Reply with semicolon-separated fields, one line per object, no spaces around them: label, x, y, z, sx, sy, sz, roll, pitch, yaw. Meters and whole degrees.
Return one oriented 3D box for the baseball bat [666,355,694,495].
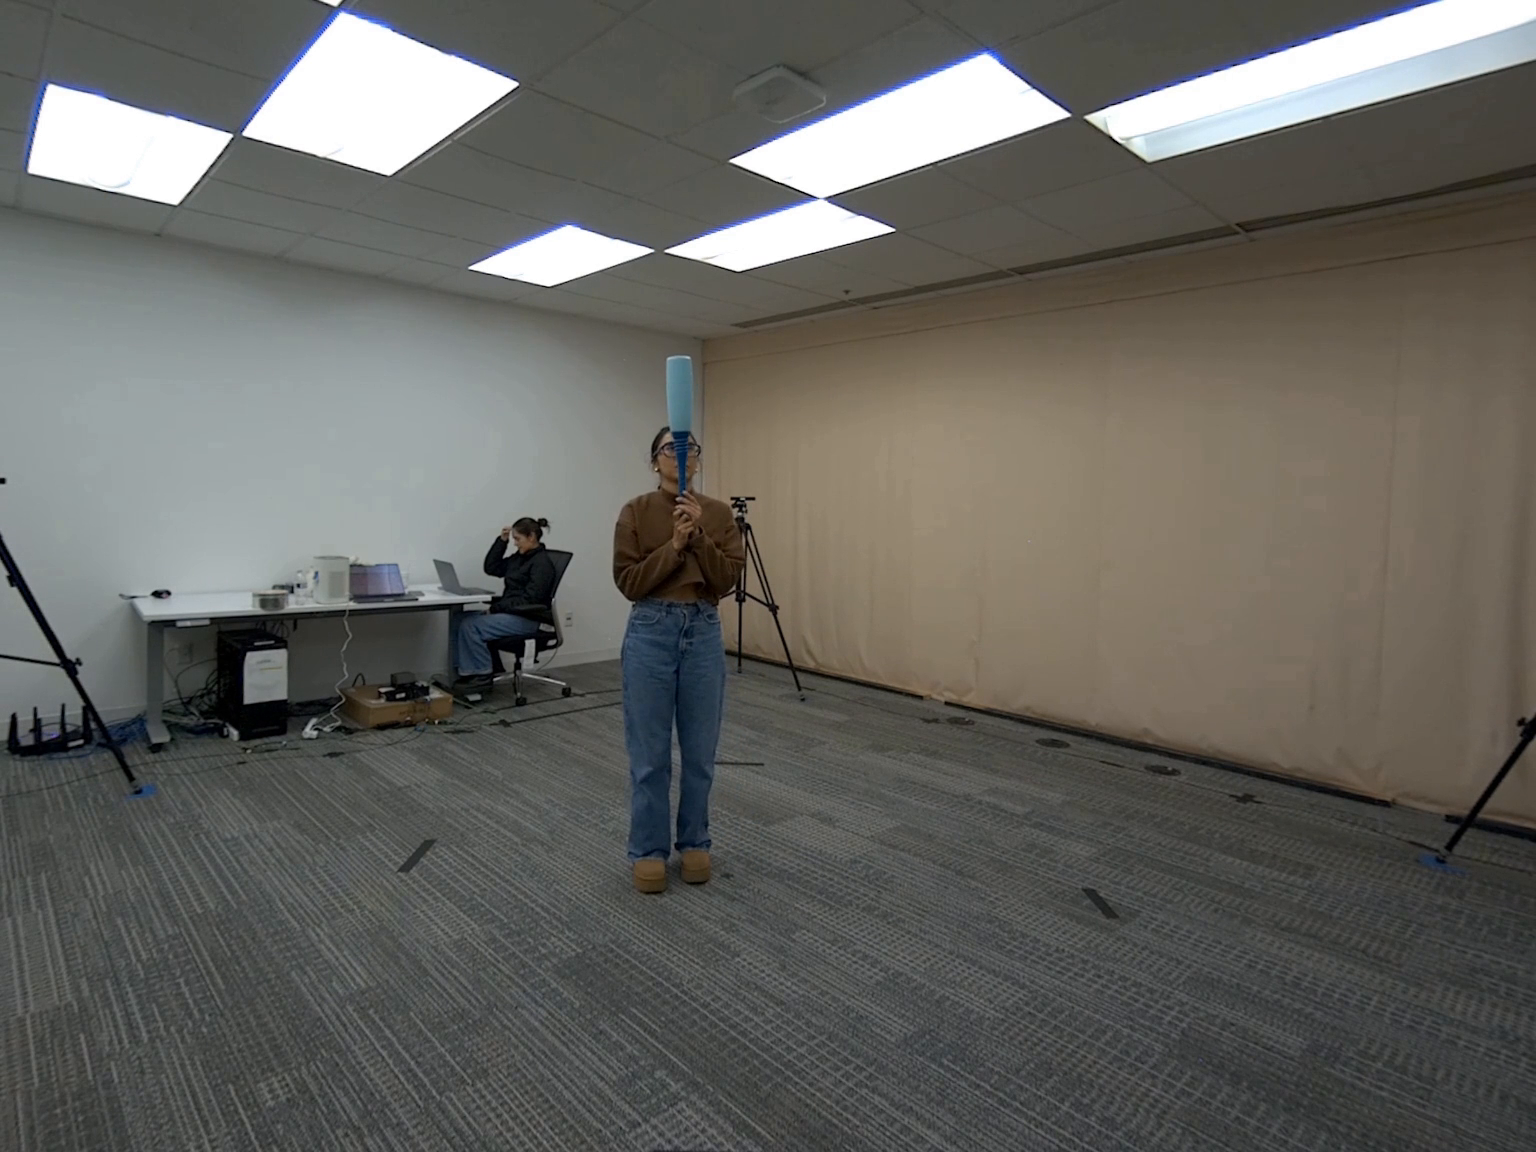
baseball bat;-0.306;-0.475;2.864;0.089;0.539;0.090;0;10;-1
